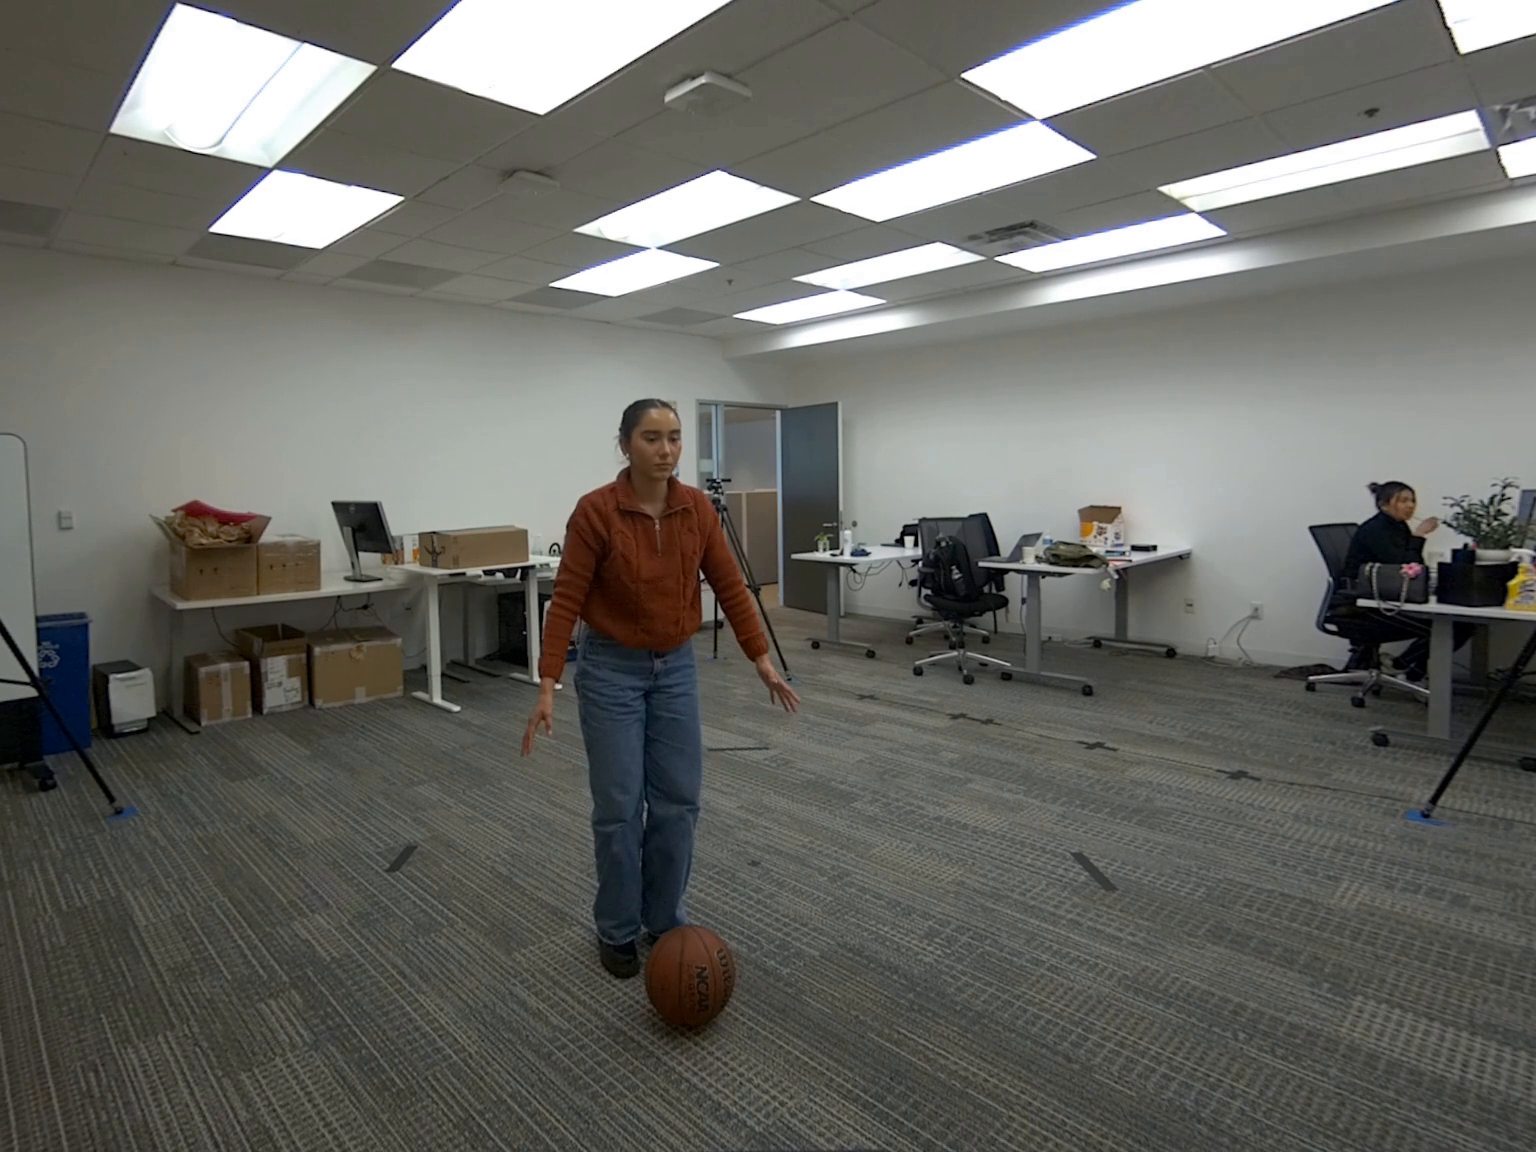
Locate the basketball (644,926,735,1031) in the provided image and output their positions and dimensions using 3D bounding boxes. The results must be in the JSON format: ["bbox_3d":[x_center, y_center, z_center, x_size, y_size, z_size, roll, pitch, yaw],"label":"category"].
[{"bbox_3d":[-0.197,1.033,2.218,0.236,0.235,0.237,-1,5,-2],"label":"basketball"}]
